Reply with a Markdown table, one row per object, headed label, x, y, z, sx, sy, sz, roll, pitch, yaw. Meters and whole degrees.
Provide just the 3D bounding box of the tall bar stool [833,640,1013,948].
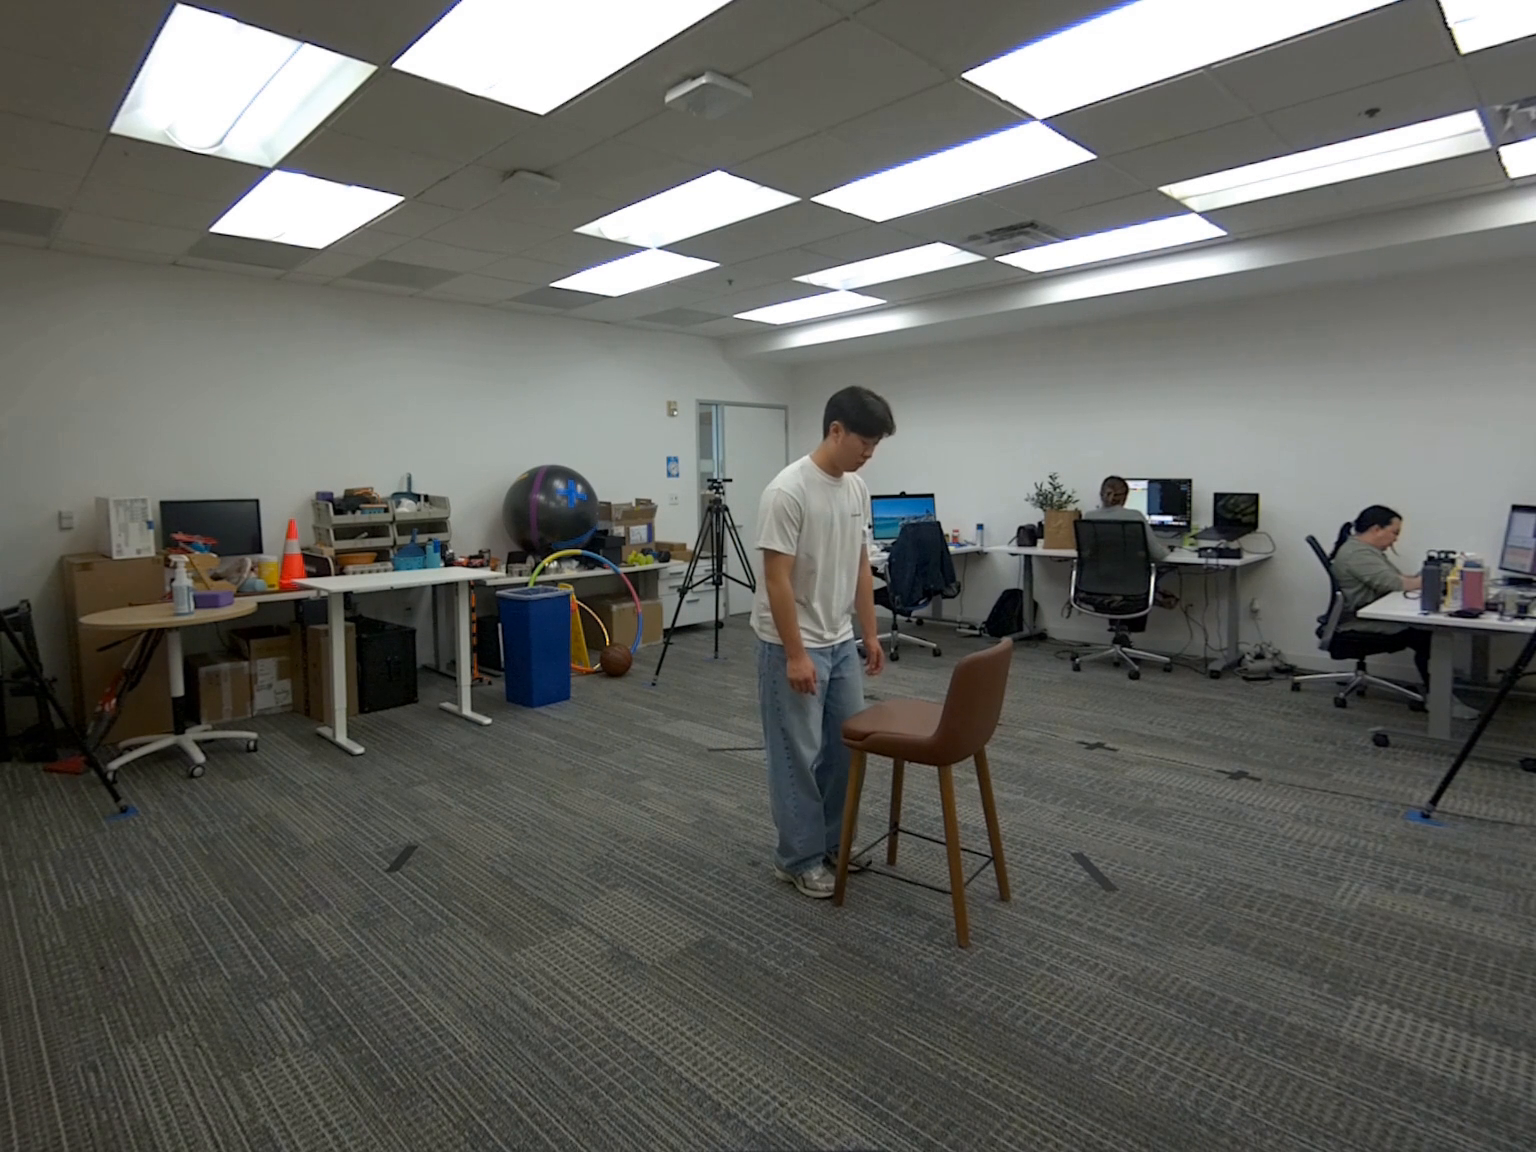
| label | x | y | z | sx | sy | sz | roll | pitch | yaw |
| --- | --- | --- | --- | --- | --- | --- | --- | --- | --- |
| tall bar stool | 0.506 | 0.632 | 2.779 | 0.482 | 0.885 | 0.445 | 6 | 8 | 38 |
